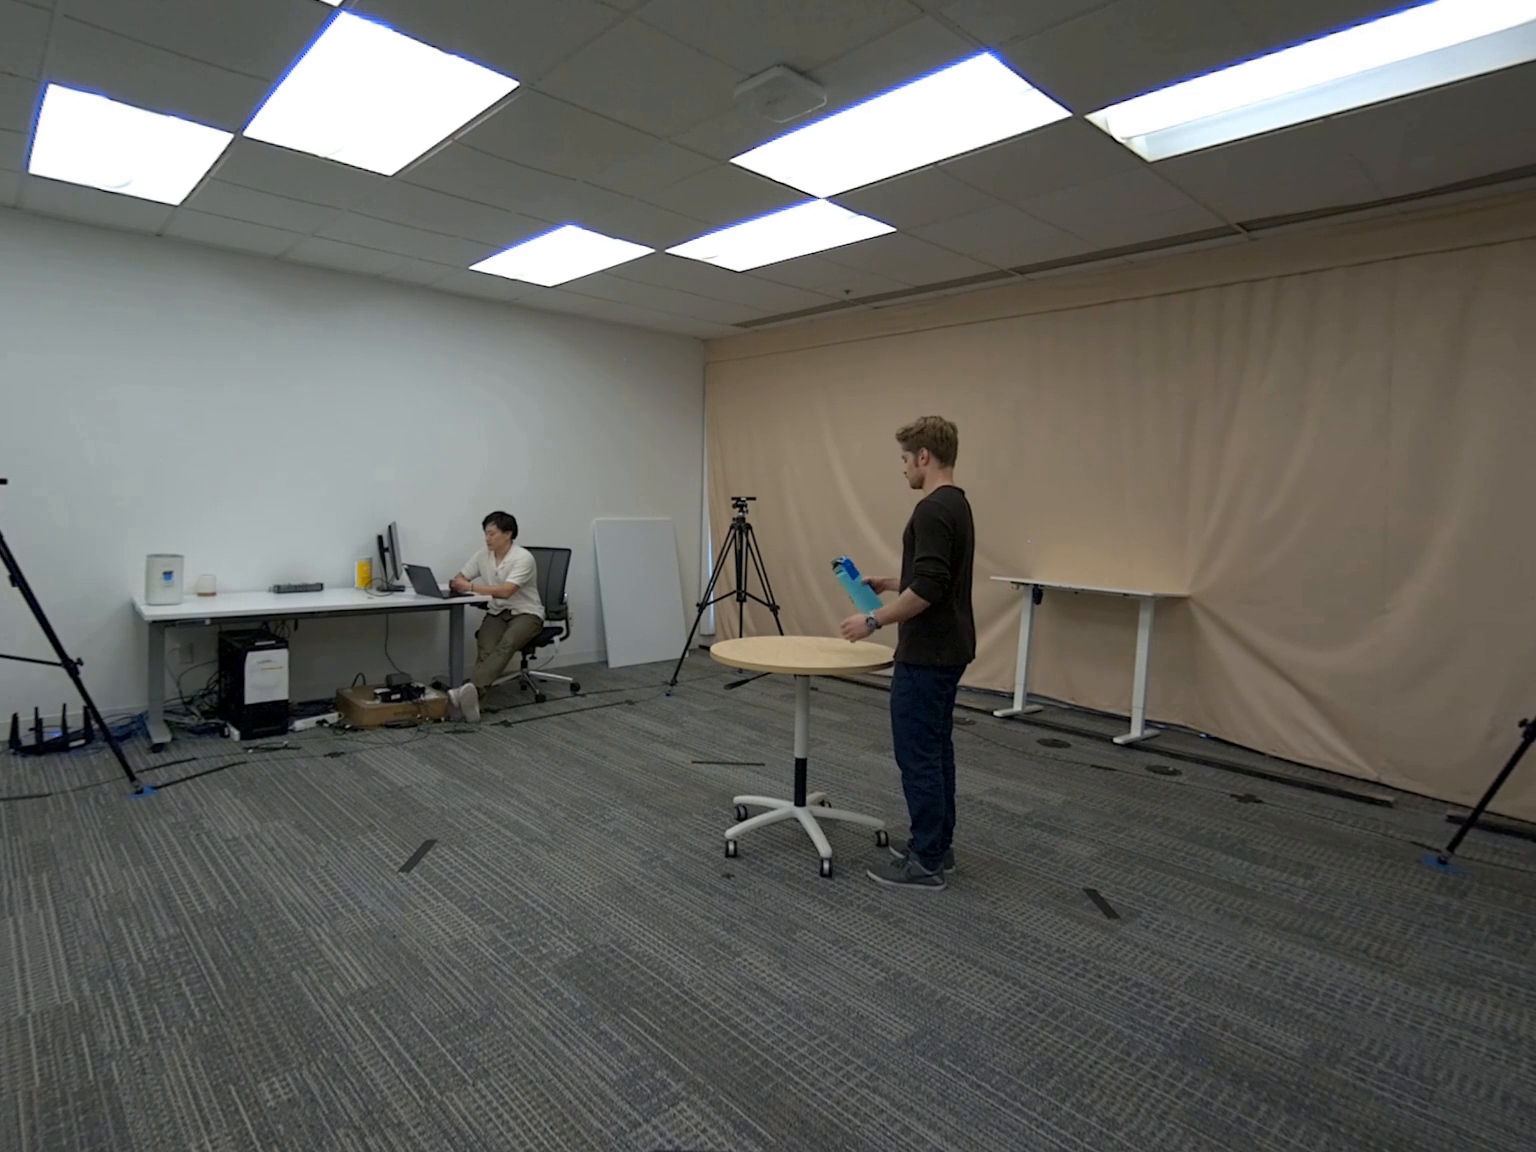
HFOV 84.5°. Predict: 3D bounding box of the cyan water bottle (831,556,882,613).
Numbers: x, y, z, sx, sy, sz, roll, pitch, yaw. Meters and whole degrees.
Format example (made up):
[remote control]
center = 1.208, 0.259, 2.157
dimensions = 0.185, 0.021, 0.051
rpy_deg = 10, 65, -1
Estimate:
[cyan water bottle]
center = 0.359, 0.045, 3.386
dimensions = 0.092, 0.282, 0.092
rpy_deg = -34, 3, 1
